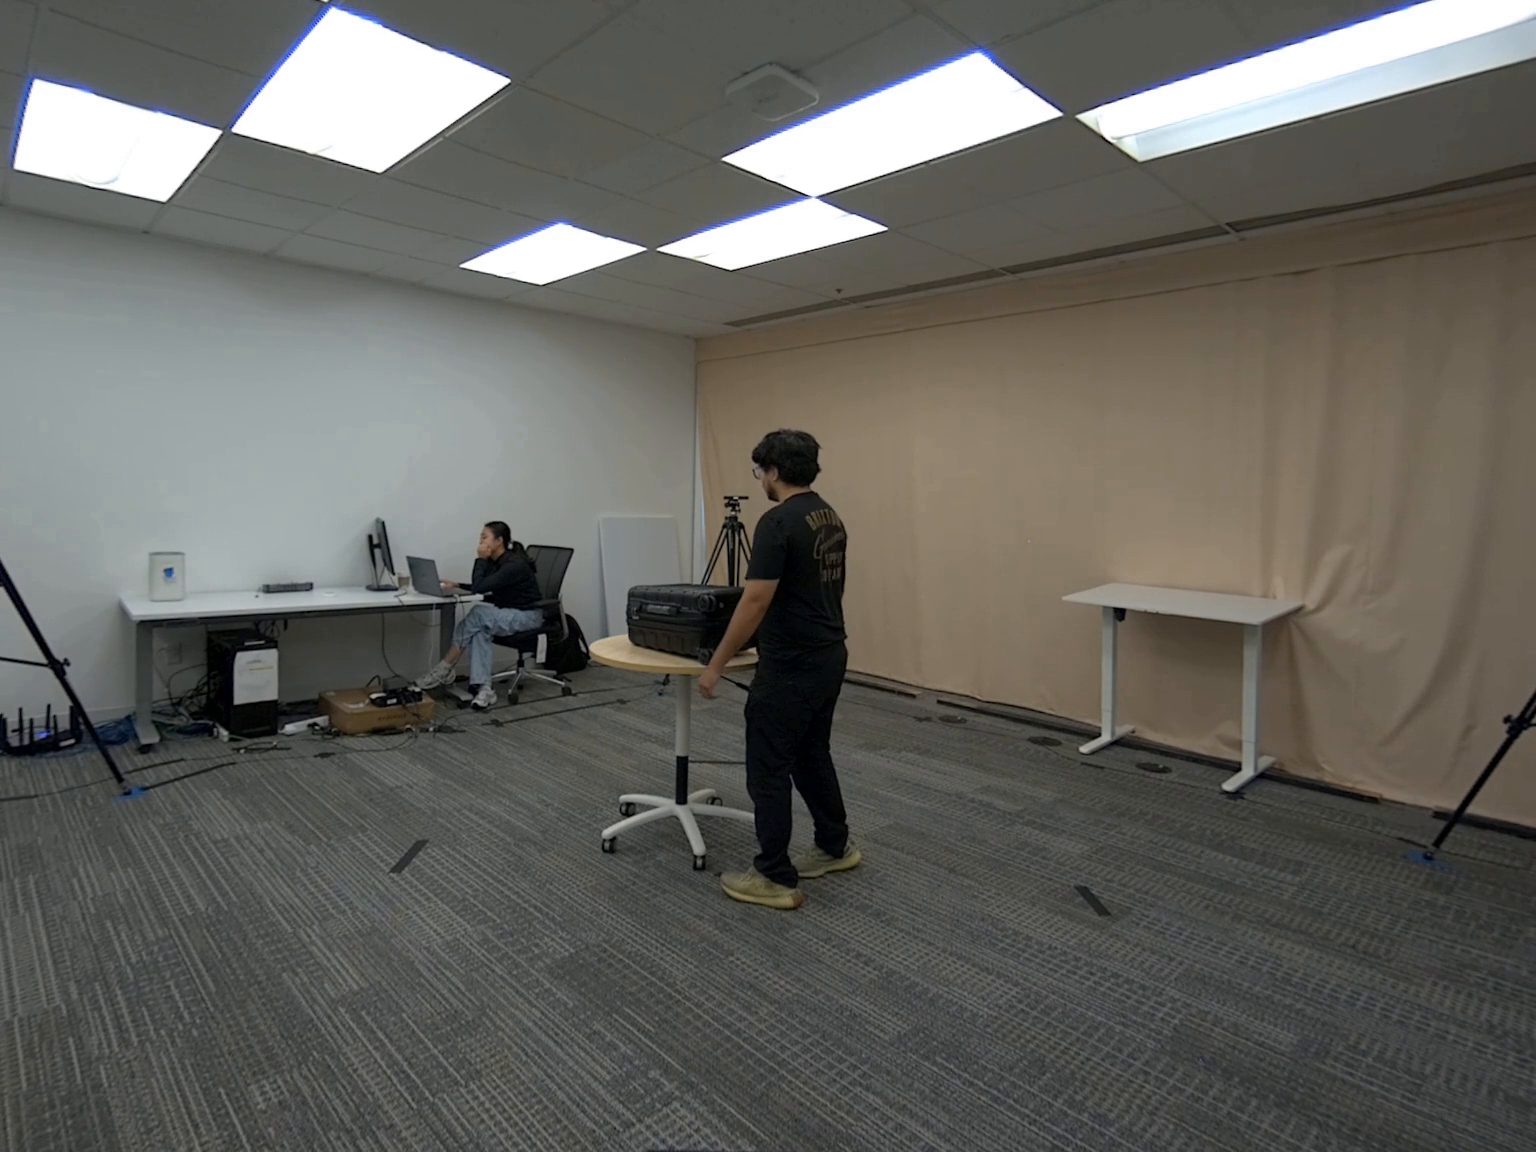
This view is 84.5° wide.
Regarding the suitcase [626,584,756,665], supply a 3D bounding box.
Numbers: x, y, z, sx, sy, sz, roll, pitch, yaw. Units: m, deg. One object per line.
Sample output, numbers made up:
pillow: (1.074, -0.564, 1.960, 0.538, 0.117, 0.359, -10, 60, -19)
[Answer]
suitcase: (-0.301, 0.169, 3.355, 0.367, 0.248, 0.563, -3, 5, -45)
